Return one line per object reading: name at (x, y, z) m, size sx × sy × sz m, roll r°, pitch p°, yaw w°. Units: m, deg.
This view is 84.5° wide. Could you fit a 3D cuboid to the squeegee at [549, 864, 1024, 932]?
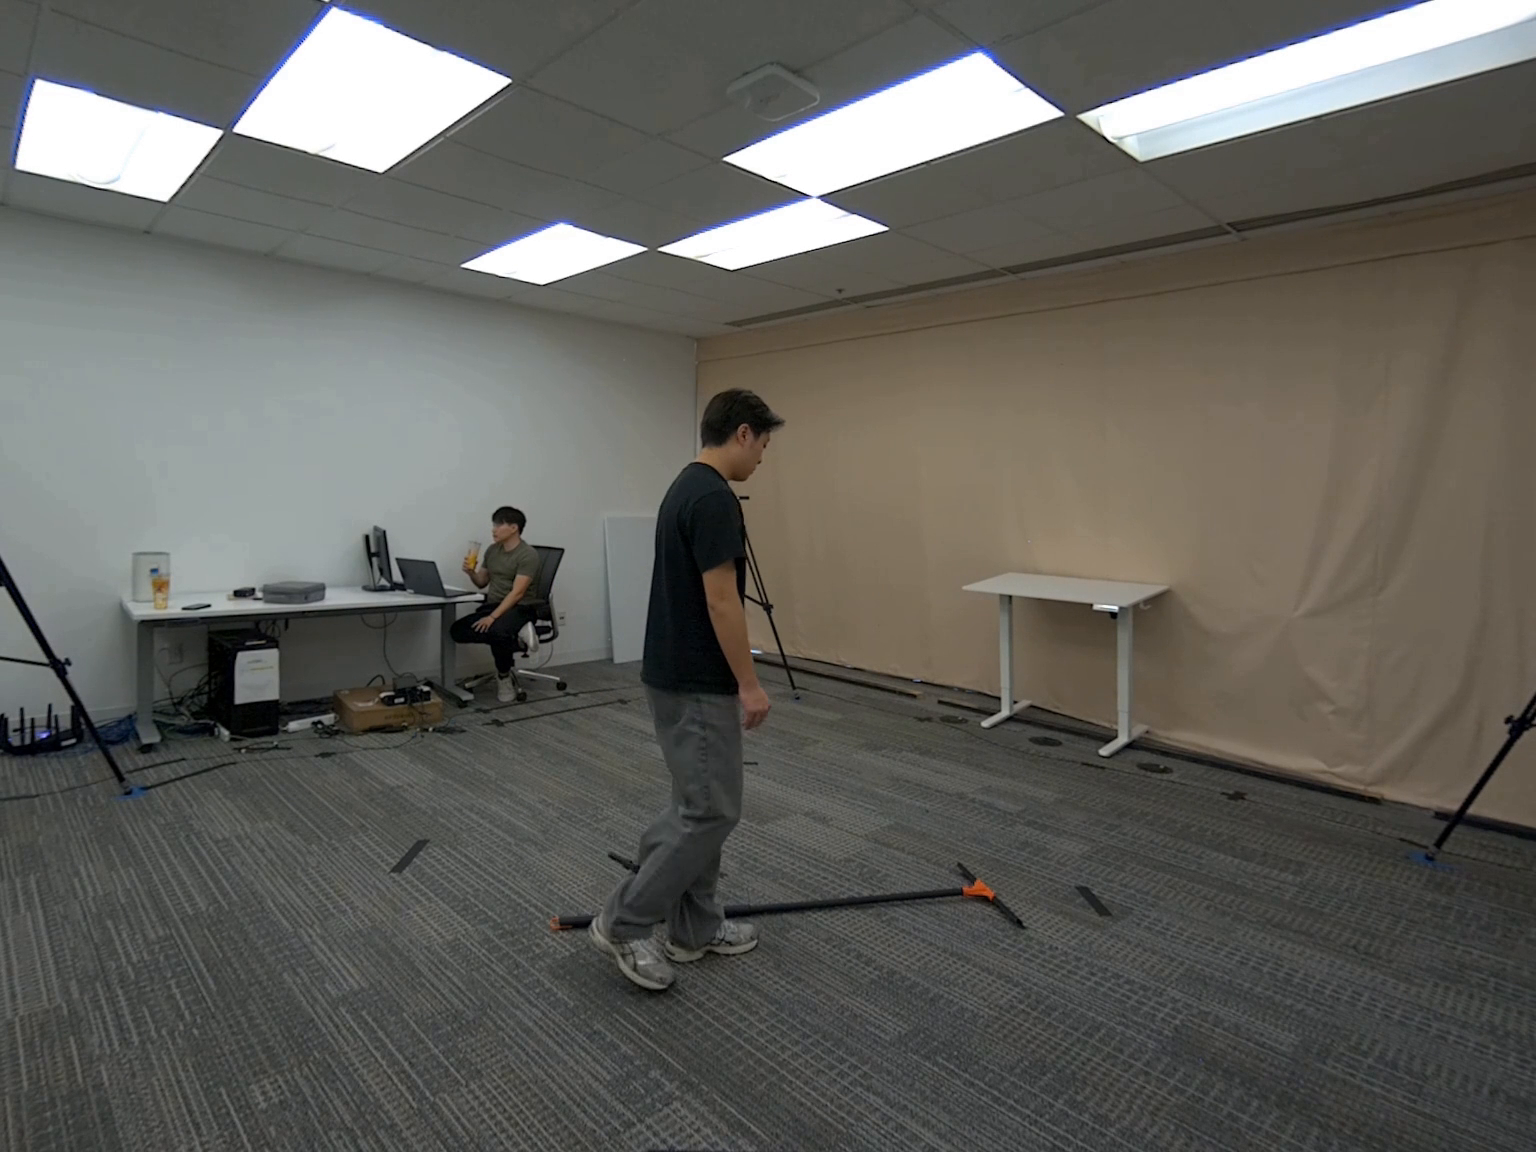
squeegee at (0.049, 1.086, 2.823) m, size 1.522 × 0.053 × 0.443 m, roll 1°, pitch 6°, yaw -13°
